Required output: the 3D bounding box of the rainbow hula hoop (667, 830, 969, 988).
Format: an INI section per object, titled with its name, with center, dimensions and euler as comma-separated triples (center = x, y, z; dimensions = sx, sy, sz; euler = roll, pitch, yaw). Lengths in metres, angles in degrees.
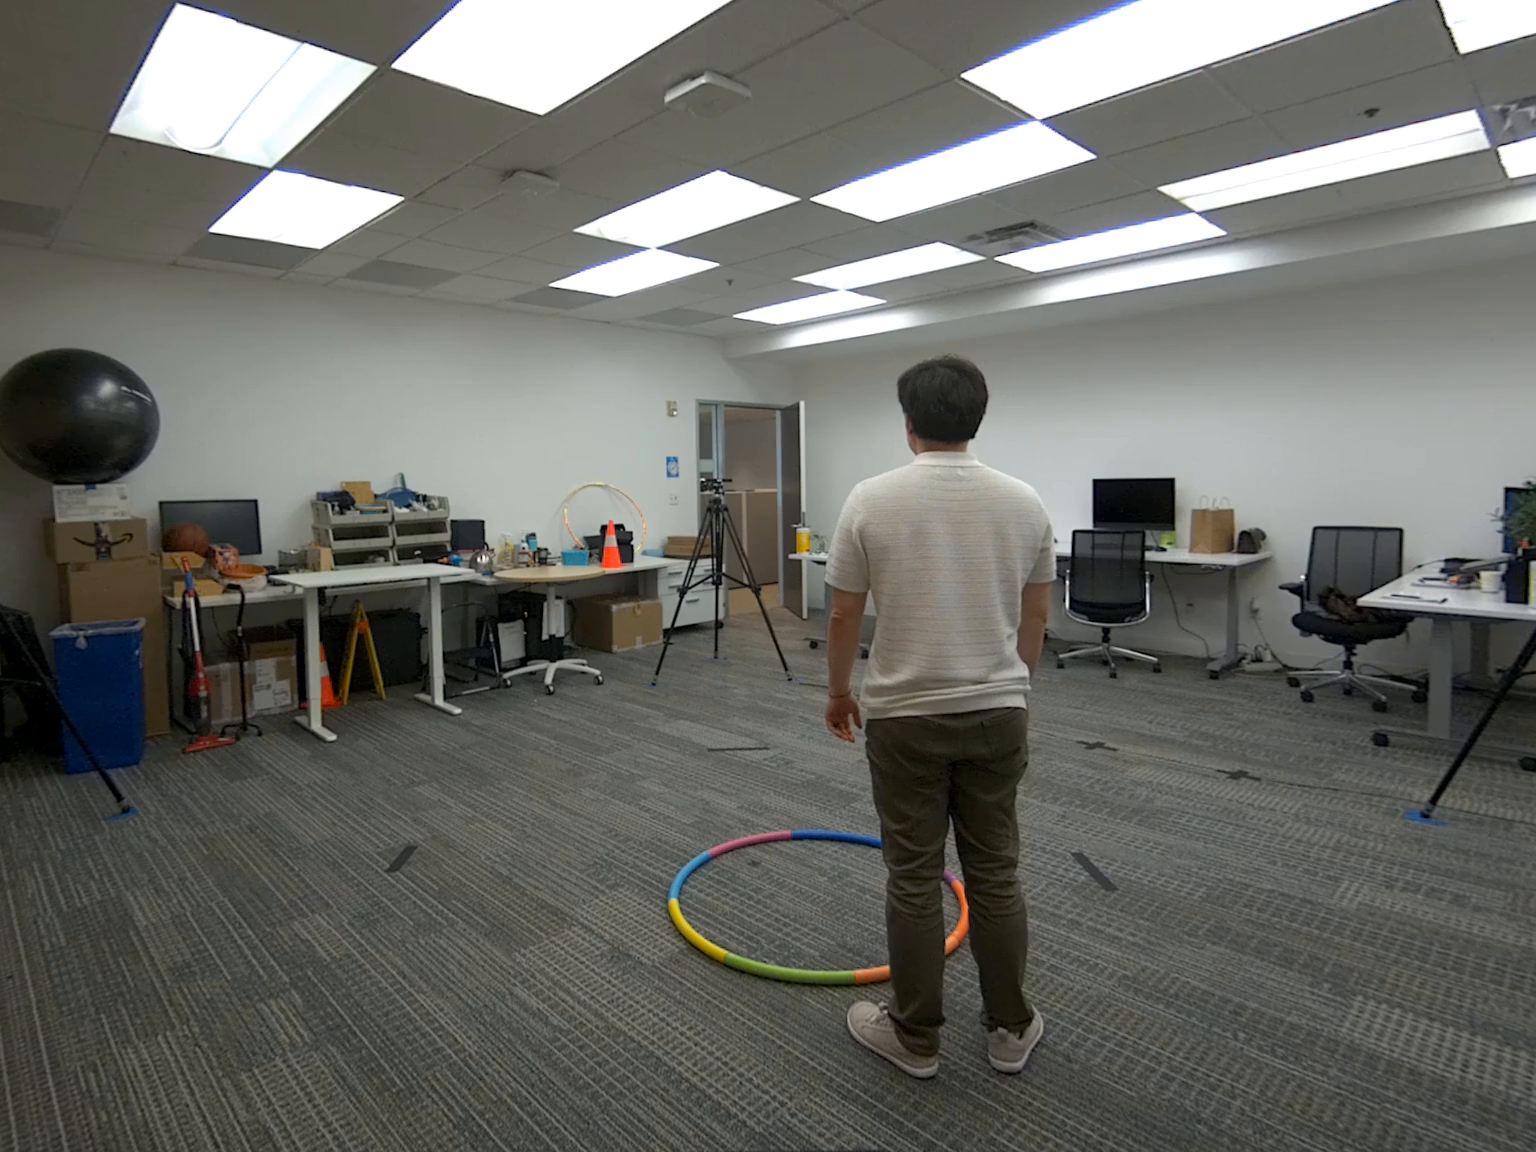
[rainbow hula hoop]
center = 0.164, 1.042, 2.832
dimensions = 0.978, 0.035, 0.984
euler = -2, 7, -2
